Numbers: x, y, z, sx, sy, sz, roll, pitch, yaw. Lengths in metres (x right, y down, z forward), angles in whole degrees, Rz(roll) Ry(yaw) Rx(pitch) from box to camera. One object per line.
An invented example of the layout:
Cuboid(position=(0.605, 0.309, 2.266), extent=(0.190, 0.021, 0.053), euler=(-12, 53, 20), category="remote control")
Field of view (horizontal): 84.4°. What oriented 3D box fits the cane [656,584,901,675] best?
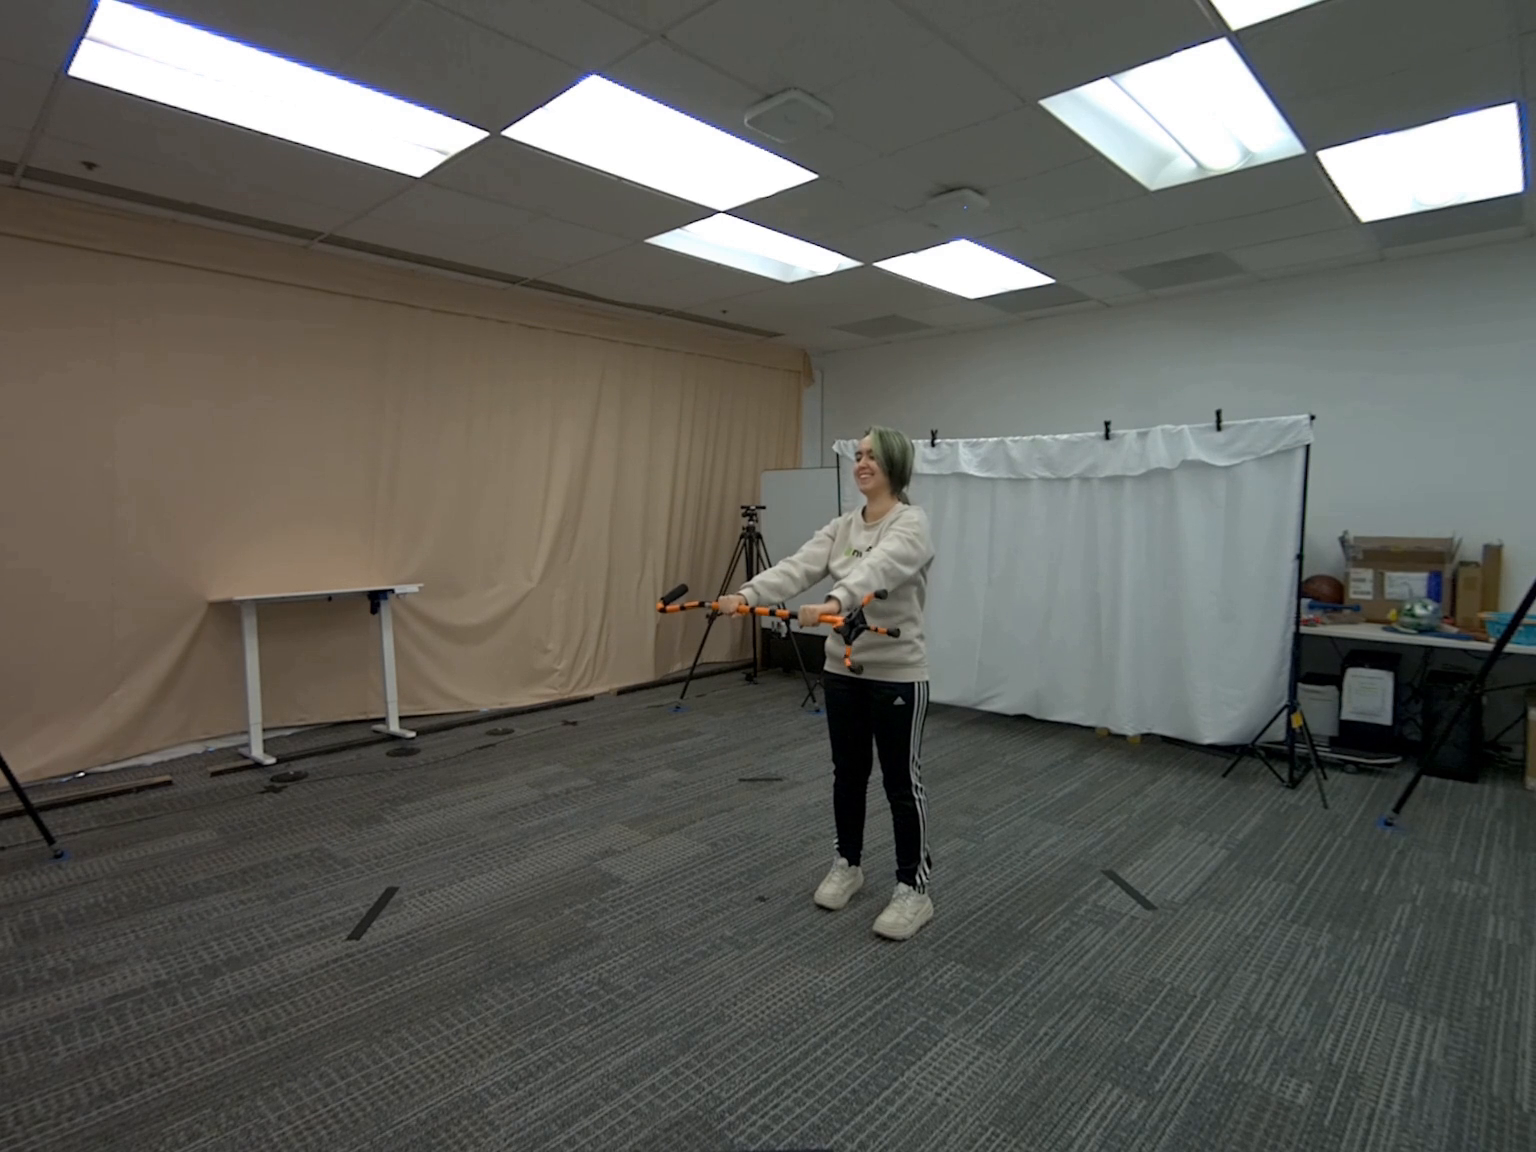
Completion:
Cuboid(position=(-0.039, 0.112, 2.558), extent=(0.203, 0.149, 0.938), euler=(-34, 25, -34), category="cane")
